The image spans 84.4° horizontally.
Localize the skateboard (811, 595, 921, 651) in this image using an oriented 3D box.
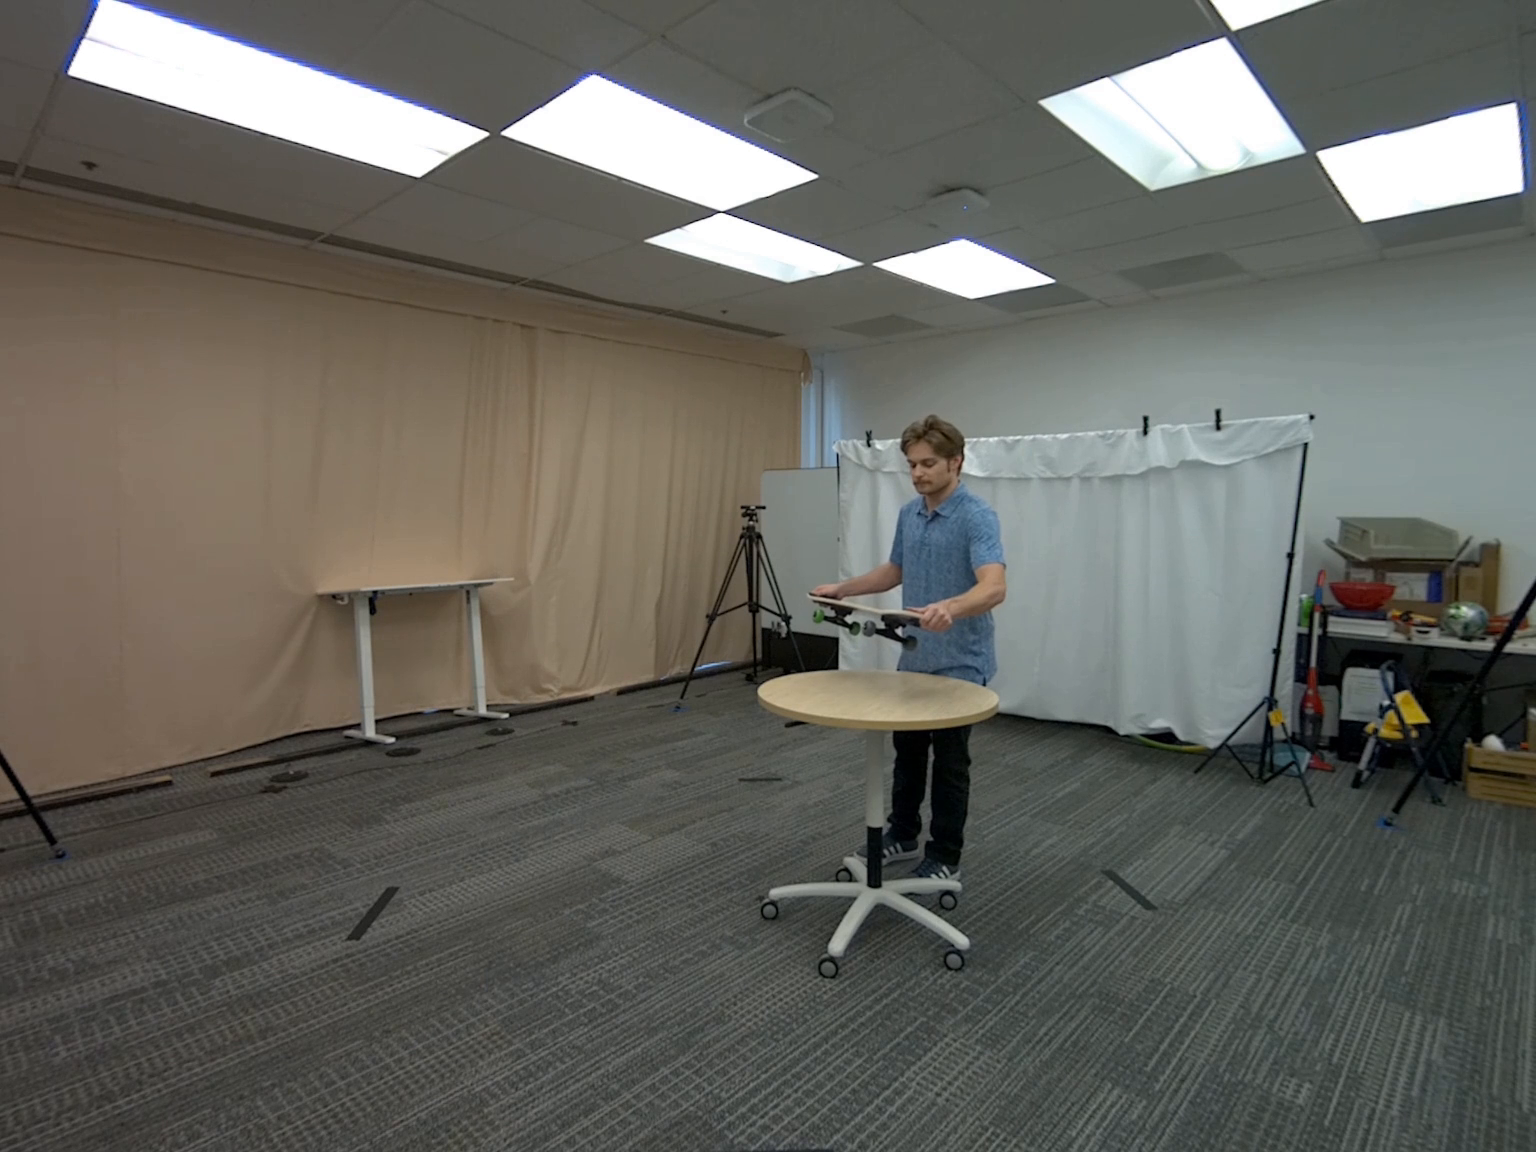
[{"bbox_3d":[0.346,0.156,2.861,0.190,0.110,0.800,20,-2,-17],"label":"skateboard"}]
